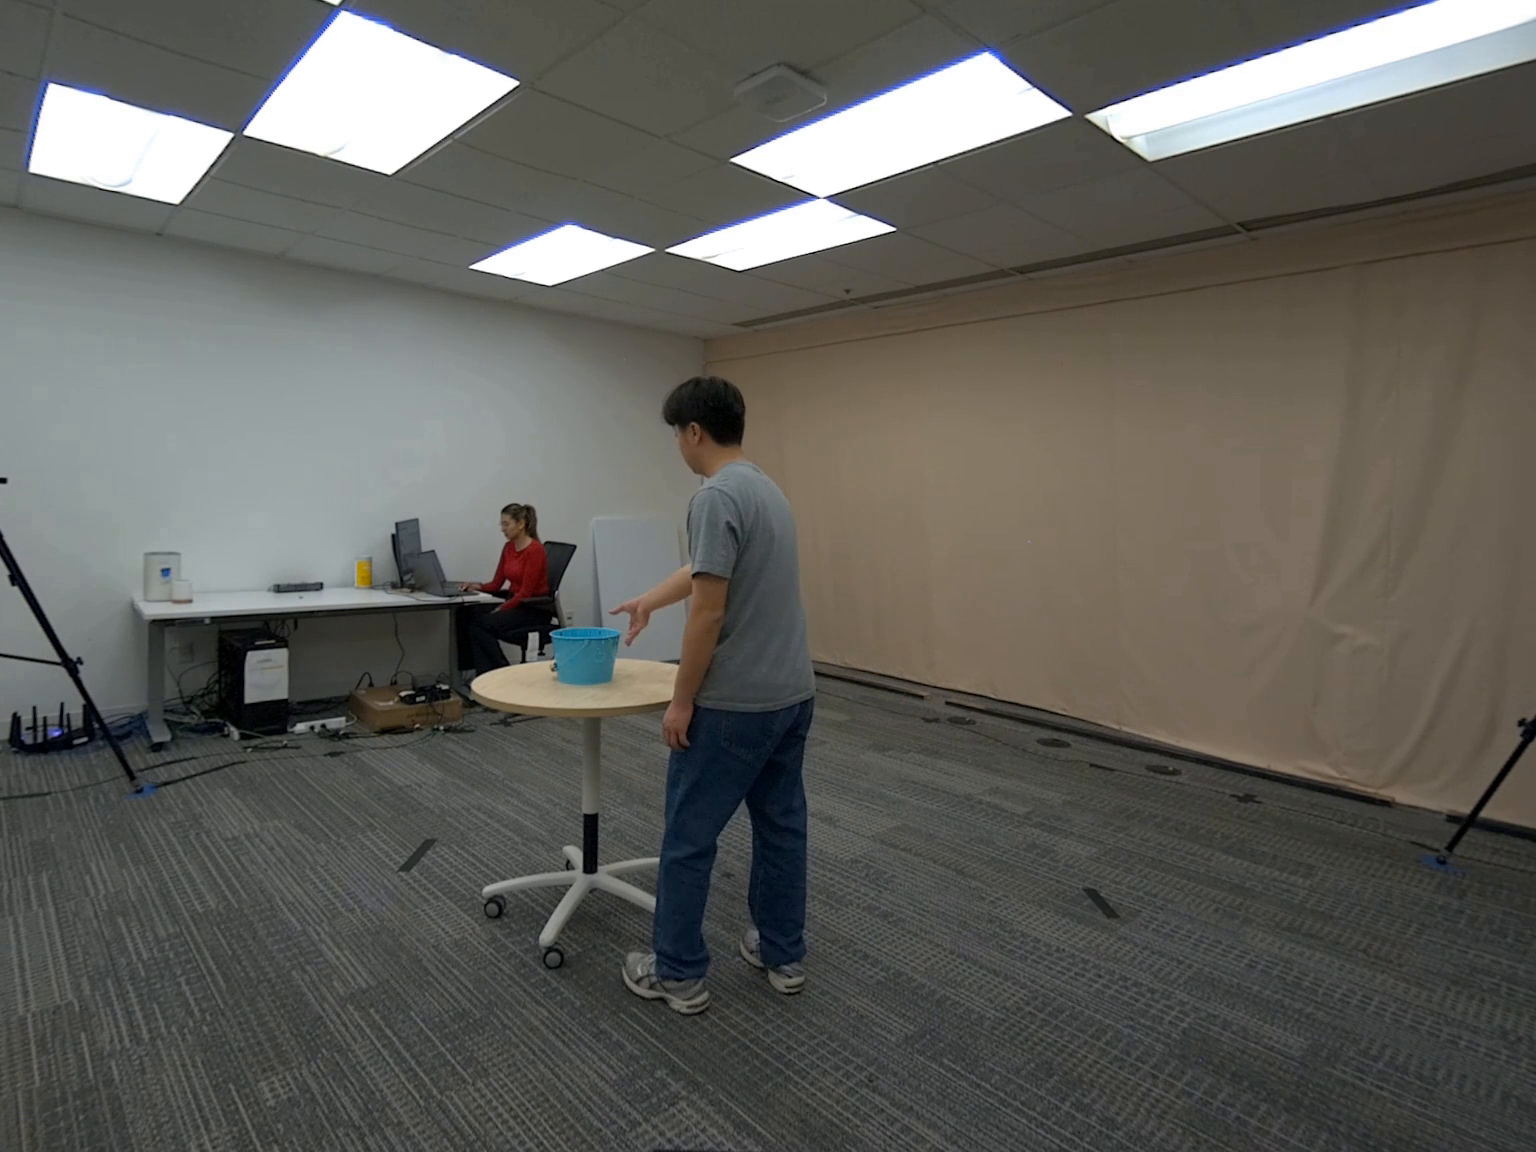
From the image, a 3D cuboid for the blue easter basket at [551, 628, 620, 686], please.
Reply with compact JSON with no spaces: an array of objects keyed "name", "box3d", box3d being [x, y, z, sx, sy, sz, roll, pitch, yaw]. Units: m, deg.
[{"name":"blue easter basket","box3d":[-0.615,0.267,2.783,0.243,0.155,0.244,1,4,-1]}]
